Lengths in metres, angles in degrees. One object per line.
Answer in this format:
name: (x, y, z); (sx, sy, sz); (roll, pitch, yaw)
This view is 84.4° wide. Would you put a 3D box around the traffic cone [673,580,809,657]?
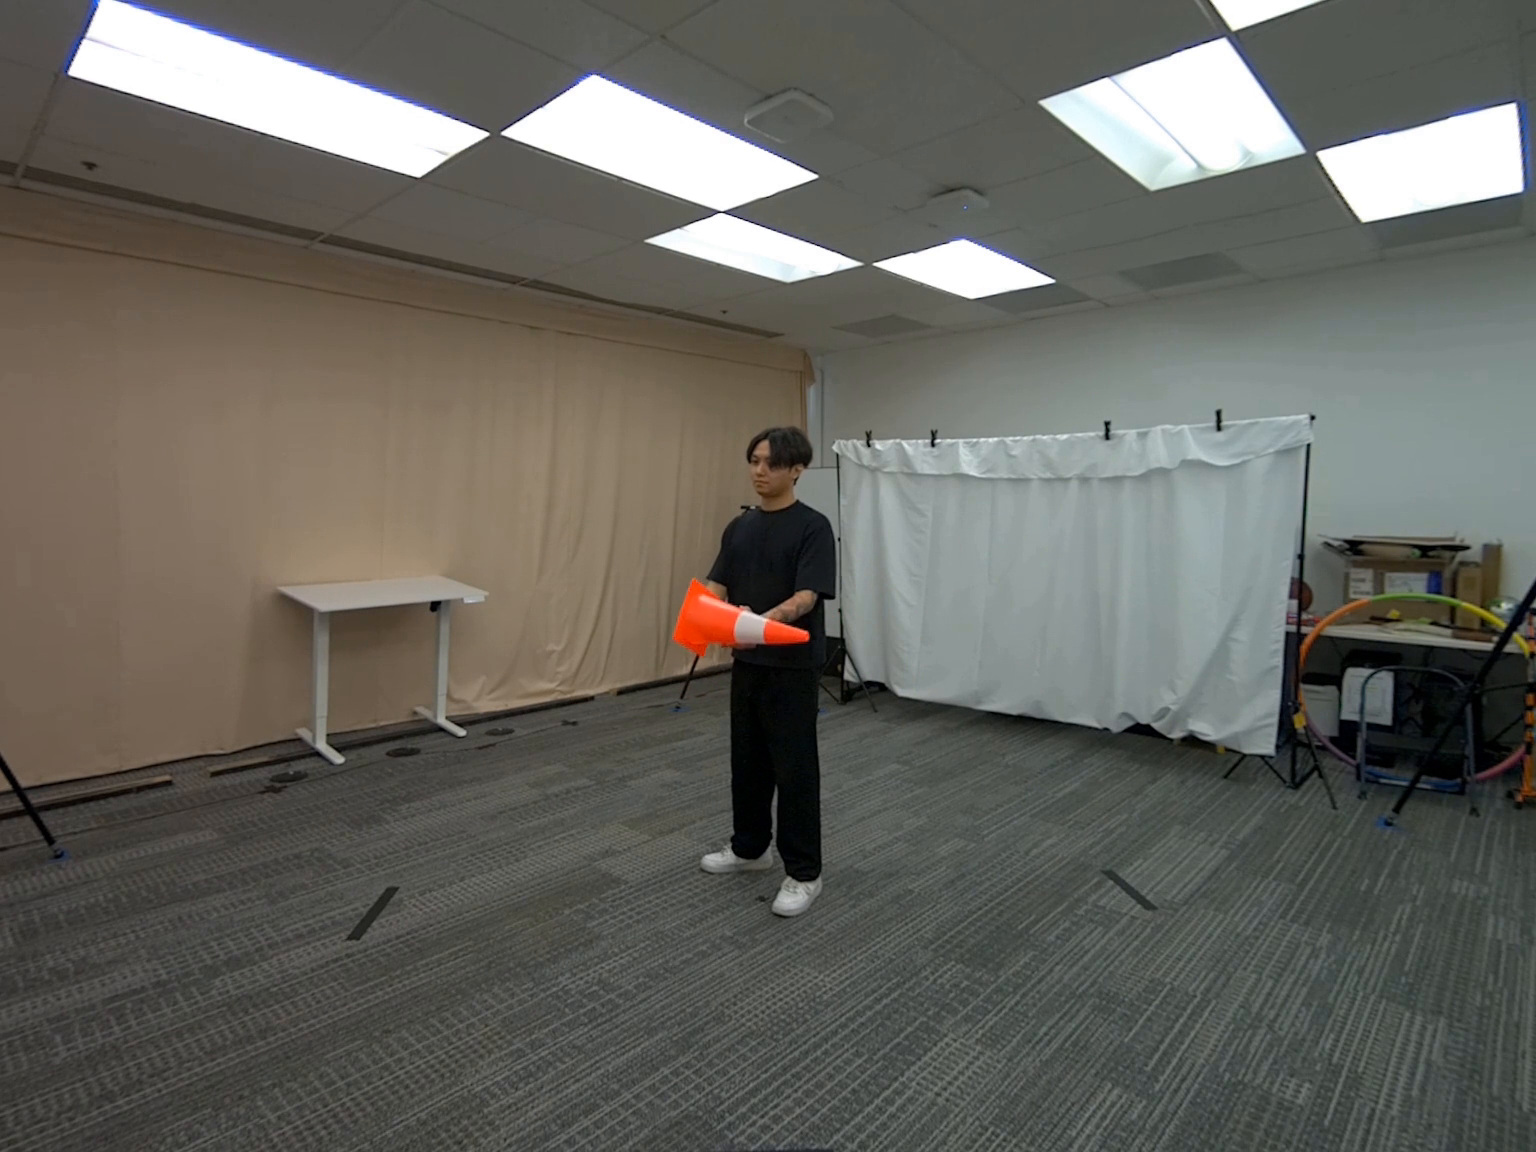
traffic cone: (-0.050, 0.160, 2.507); (0.396, 0.206, 0.196); (6, -16, 32)
